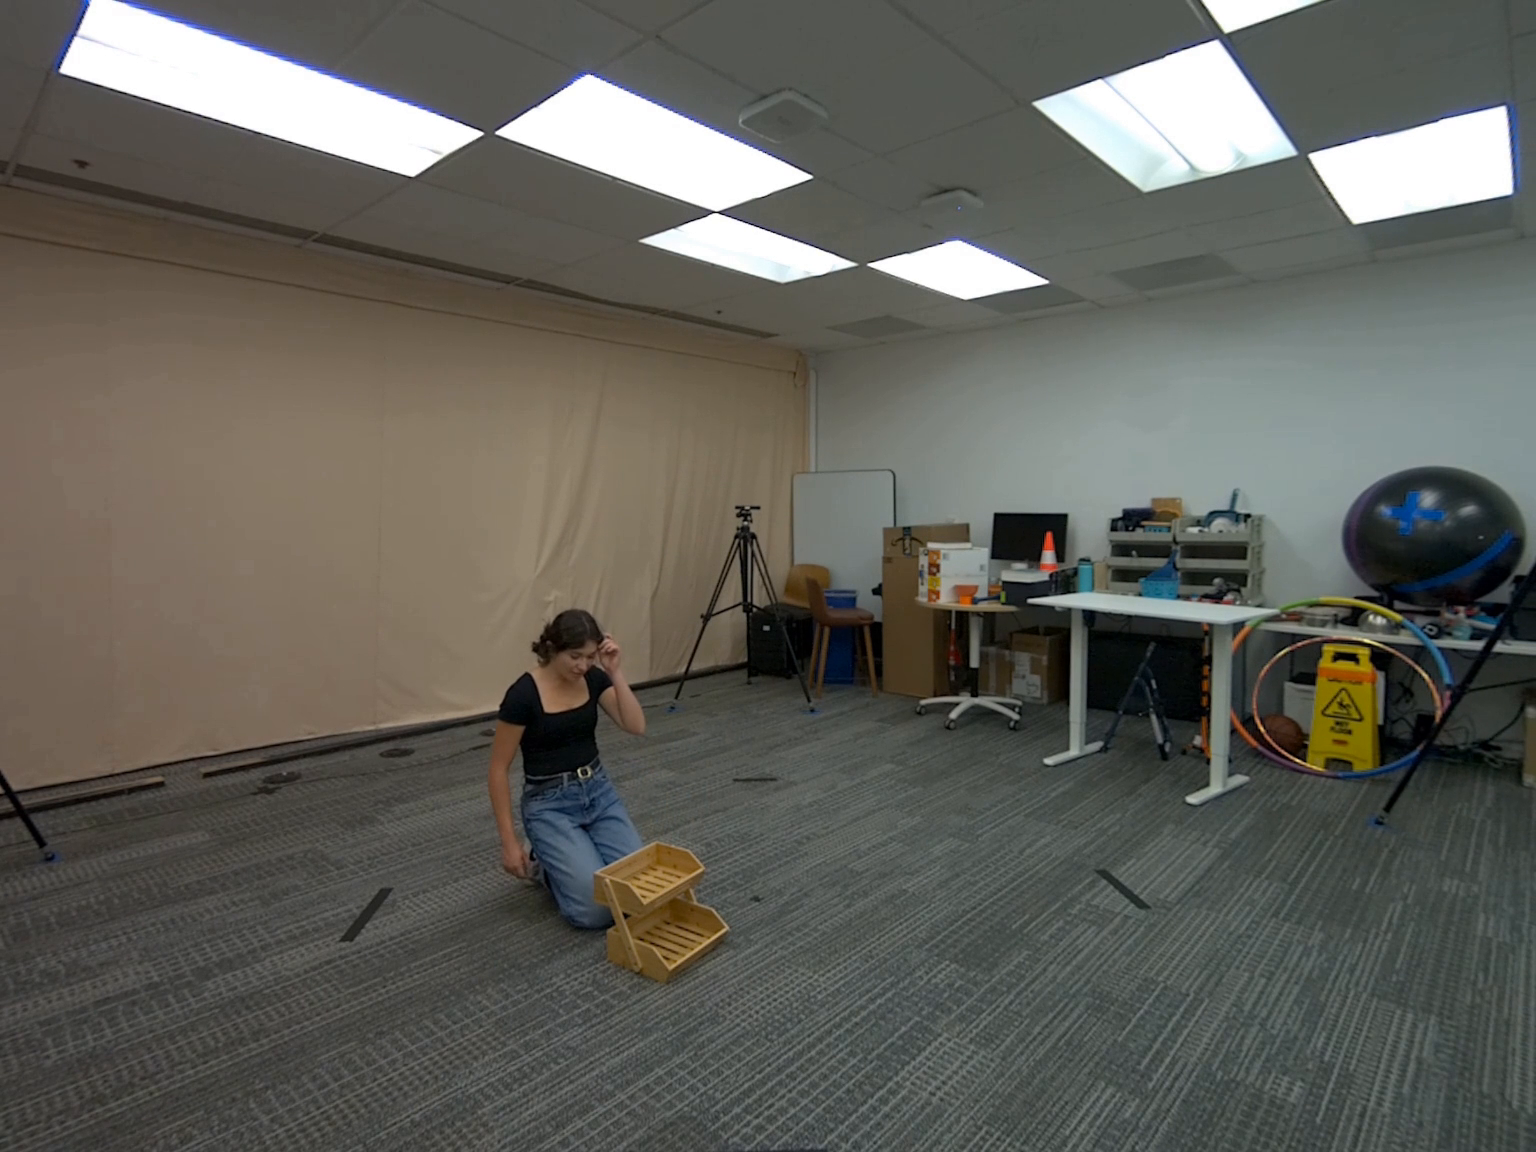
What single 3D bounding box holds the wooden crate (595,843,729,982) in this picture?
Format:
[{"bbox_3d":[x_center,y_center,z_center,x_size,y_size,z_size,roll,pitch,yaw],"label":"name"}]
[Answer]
[{"bbox_3d":[-0.329,1.043,2.641,0.311,0.273,0.315,2,4,35],"label":"wooden crate"}]
